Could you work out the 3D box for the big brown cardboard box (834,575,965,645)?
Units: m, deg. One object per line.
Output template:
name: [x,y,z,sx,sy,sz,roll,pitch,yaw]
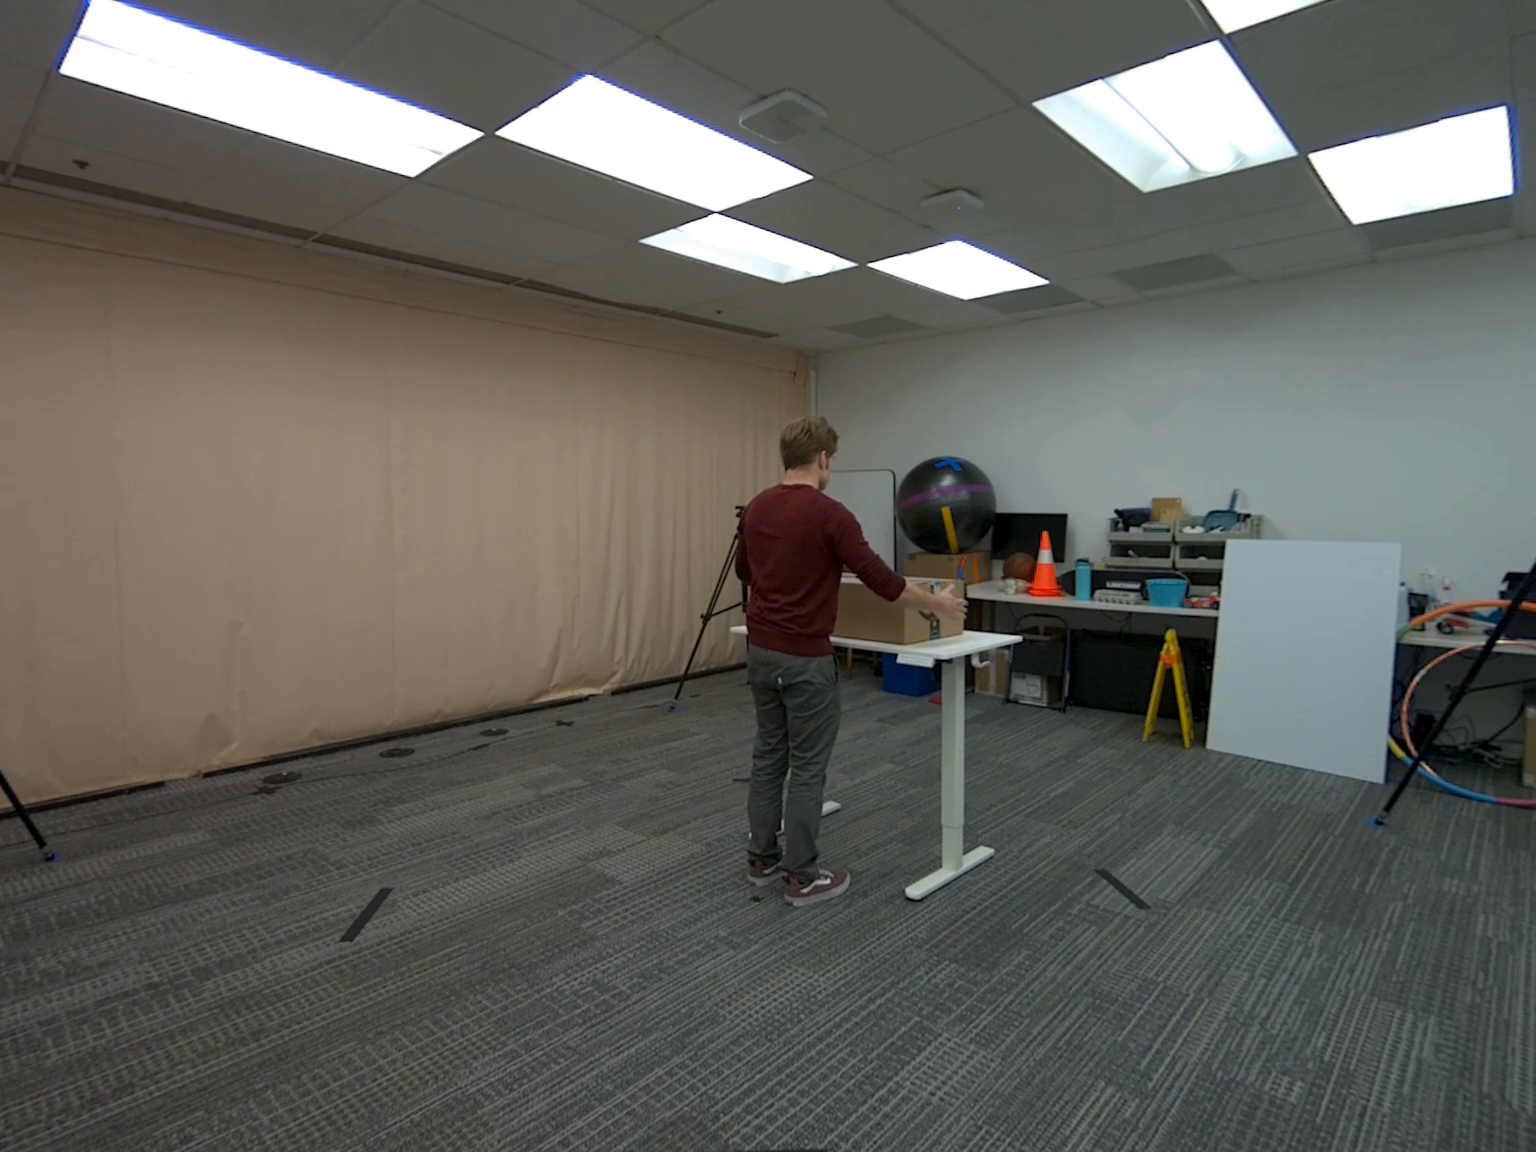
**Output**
big brown cardboard box: [0.426,0.118,3.384,0.609,0.232,0.405,4,6,44]
